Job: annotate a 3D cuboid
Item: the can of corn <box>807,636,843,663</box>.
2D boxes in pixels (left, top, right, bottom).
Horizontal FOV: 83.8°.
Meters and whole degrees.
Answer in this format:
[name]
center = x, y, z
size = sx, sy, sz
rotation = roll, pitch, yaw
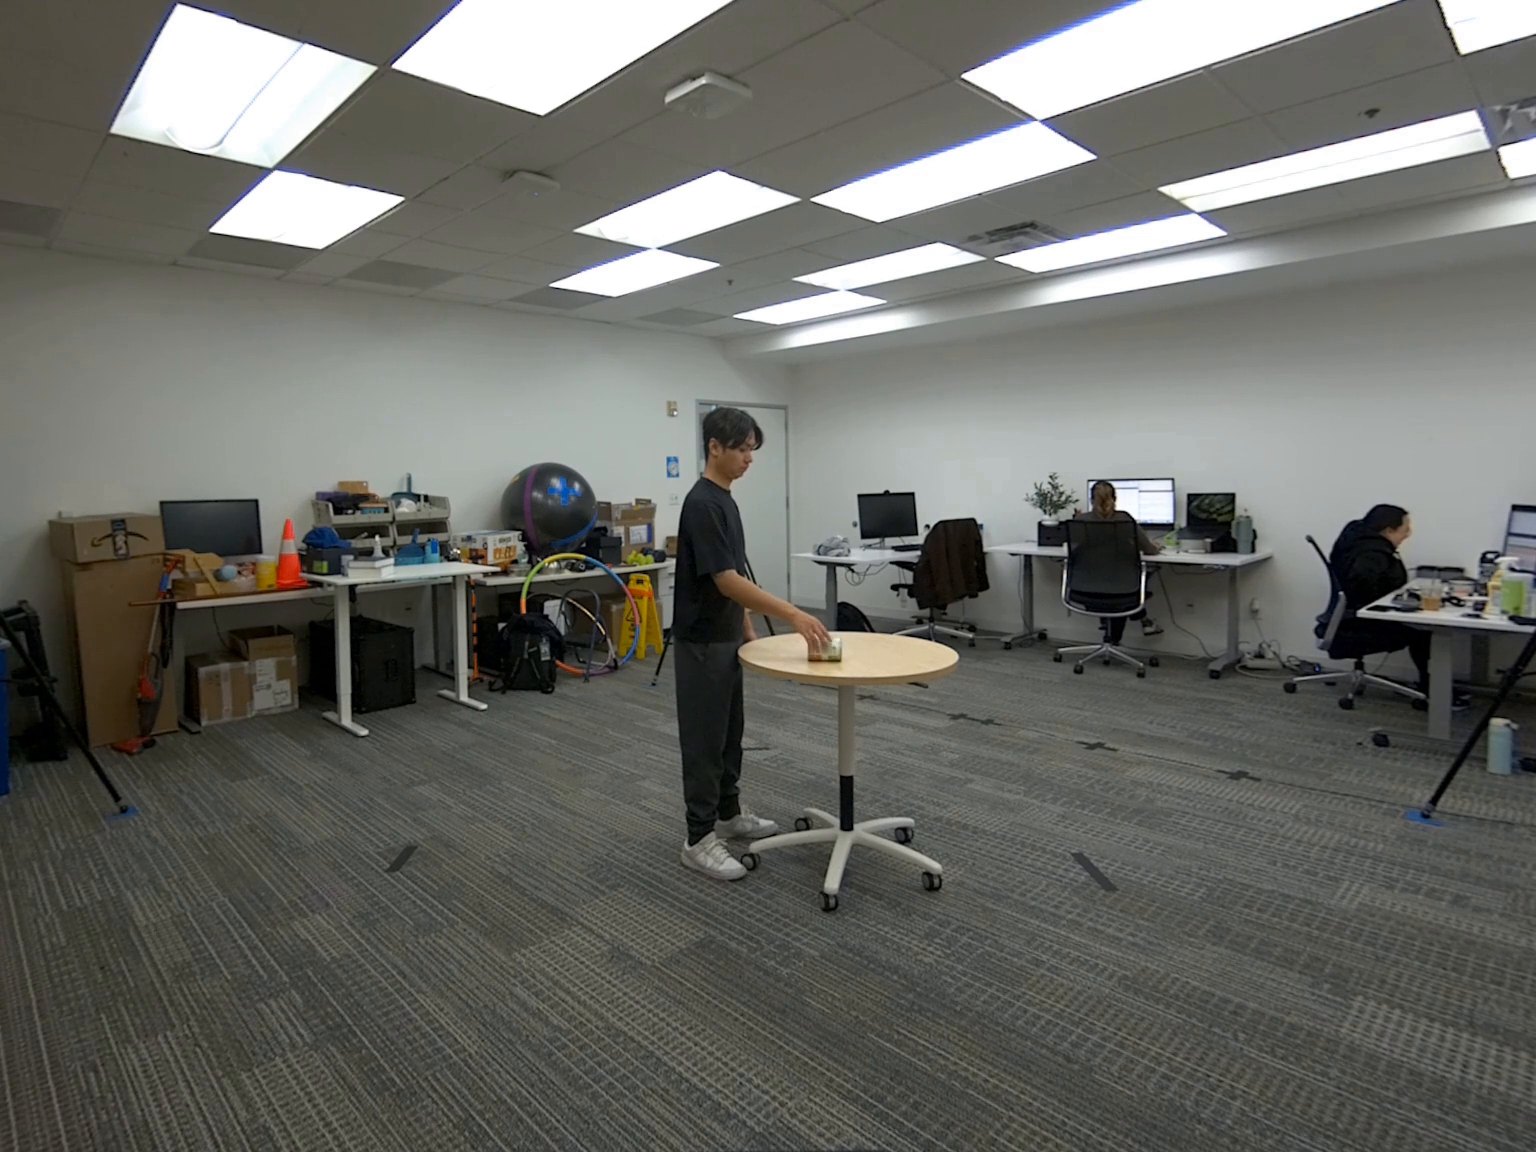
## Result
[can of corn]
center = 0.197, 0.246, 2.868
size = 0.111, 0.074, 0.074
rotation = -5, 4, 5
